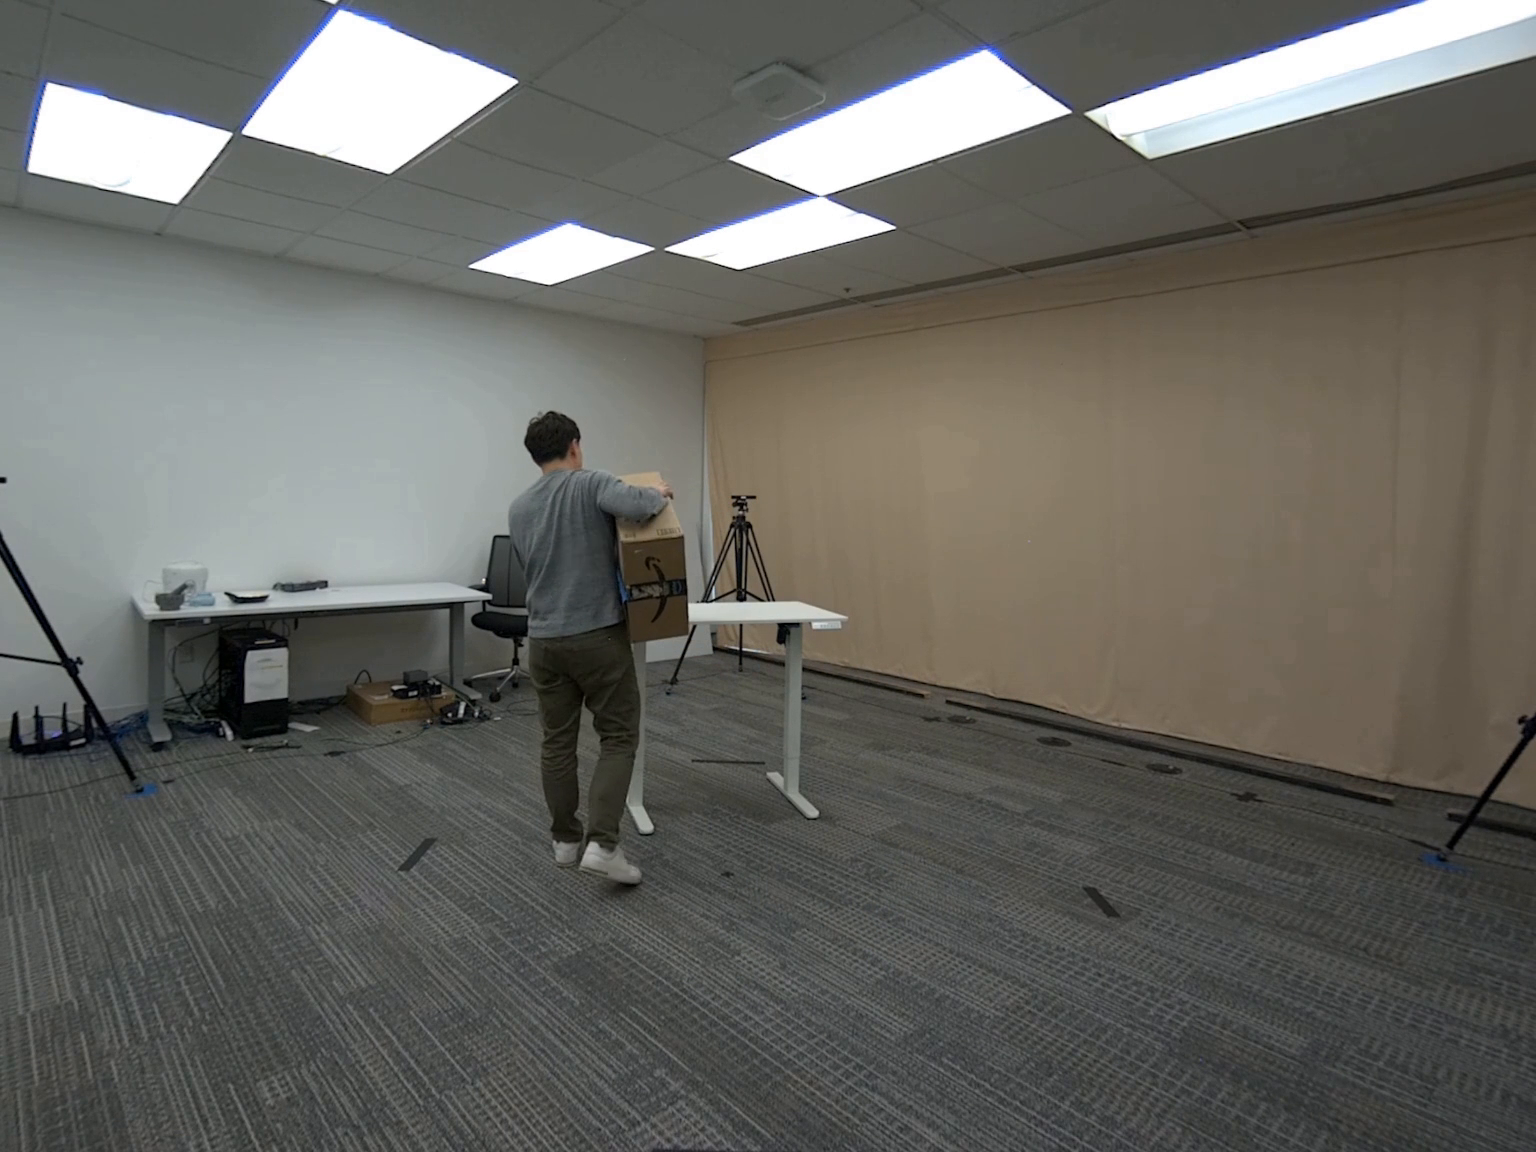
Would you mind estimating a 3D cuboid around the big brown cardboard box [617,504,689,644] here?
[{"bbox_3d":[-0.457,-0.080,3.156,0.231,0.409,0.605,-8,30,-12],"label":"big brown cardboard box"}]
